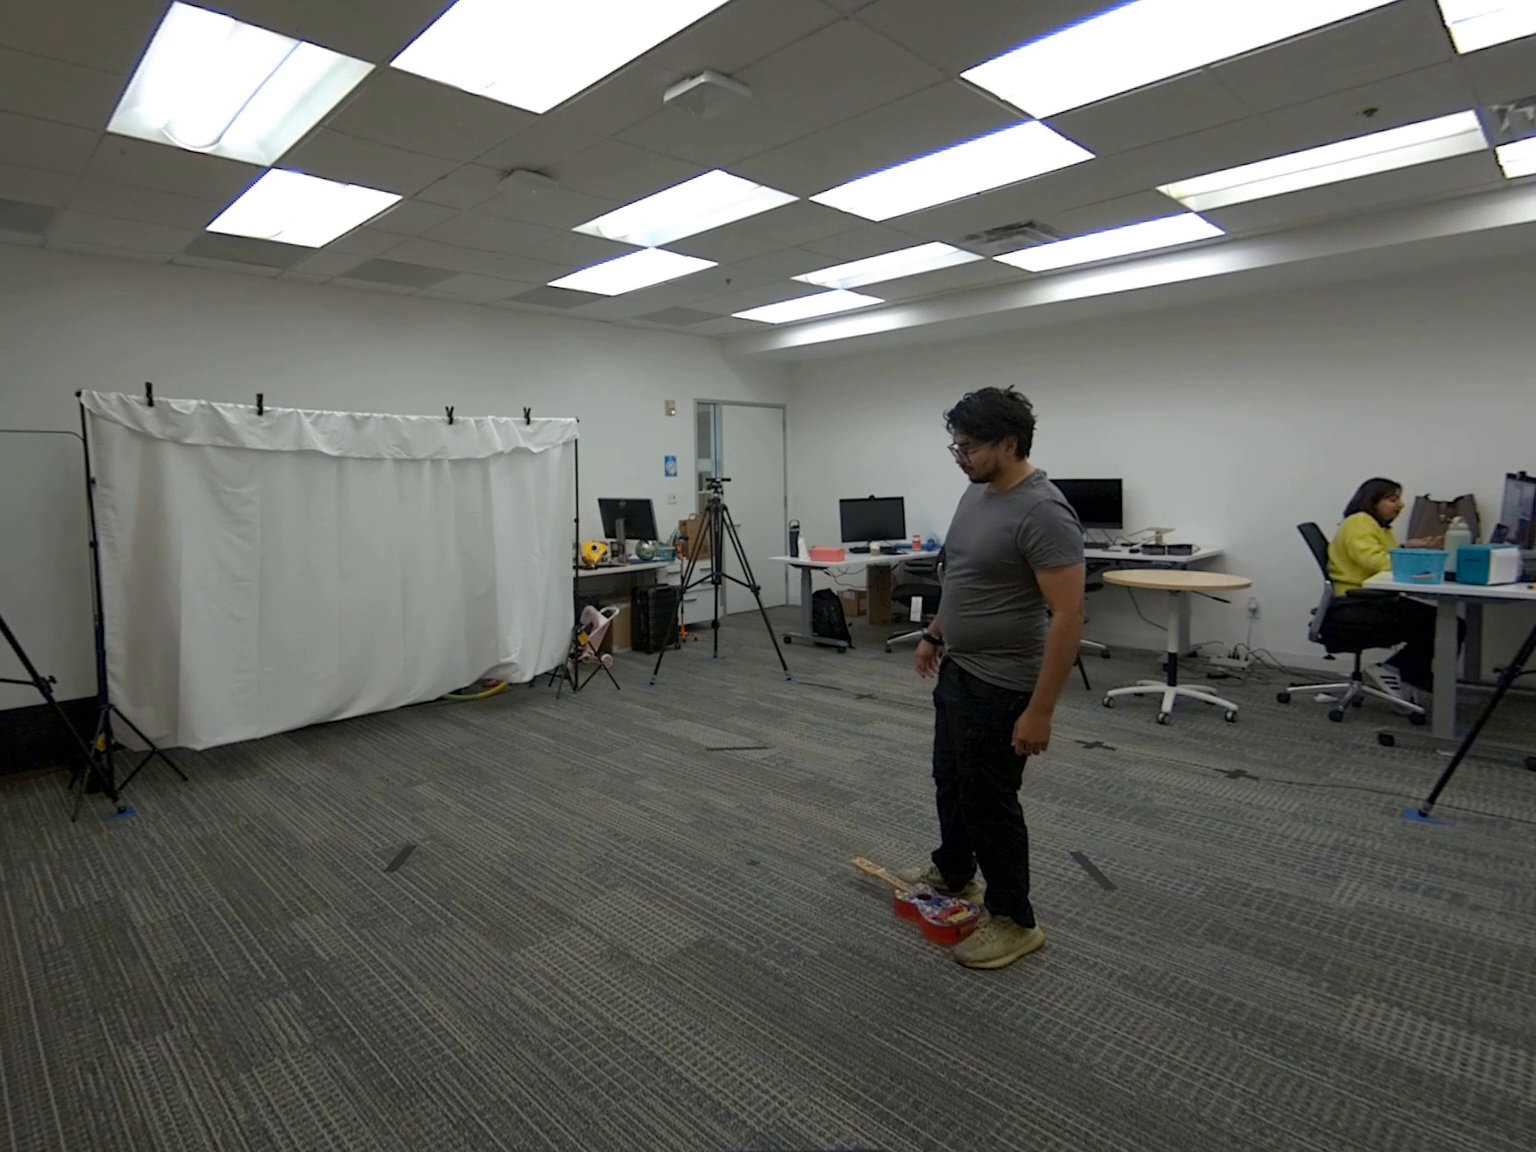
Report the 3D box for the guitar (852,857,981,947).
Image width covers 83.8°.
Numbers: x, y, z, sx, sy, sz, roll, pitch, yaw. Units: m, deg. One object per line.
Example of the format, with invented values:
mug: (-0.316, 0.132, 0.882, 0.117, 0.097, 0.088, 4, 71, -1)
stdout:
guitar: (0.480, 1.042, 2.775, 0.189, 0.070, 0.511, -4, 7, -26)
